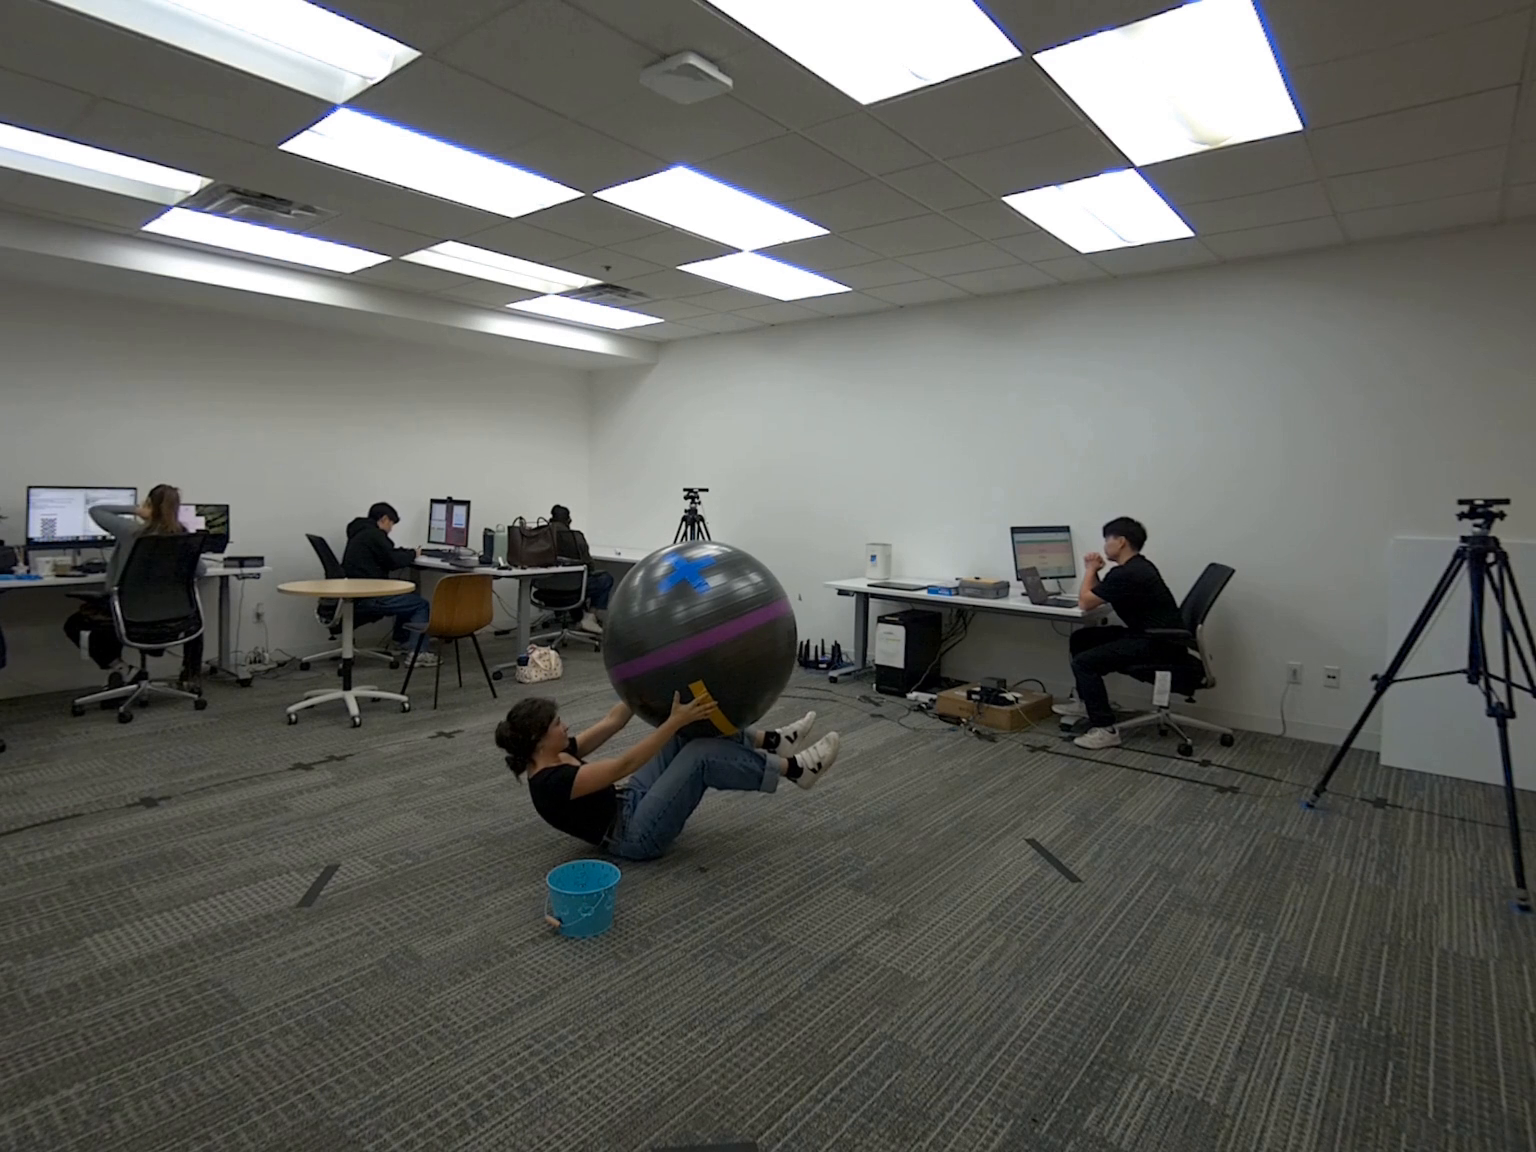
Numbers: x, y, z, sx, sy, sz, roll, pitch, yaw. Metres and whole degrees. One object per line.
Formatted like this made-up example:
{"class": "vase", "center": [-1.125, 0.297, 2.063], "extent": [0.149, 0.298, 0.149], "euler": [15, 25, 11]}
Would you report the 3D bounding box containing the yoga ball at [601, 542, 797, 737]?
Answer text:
{"class": "yoga ball", "center": [-0.282, 0.244, 3.307], "extent": [0.757, 0.756, 0.761], "euler": [1, 4, -2]}
